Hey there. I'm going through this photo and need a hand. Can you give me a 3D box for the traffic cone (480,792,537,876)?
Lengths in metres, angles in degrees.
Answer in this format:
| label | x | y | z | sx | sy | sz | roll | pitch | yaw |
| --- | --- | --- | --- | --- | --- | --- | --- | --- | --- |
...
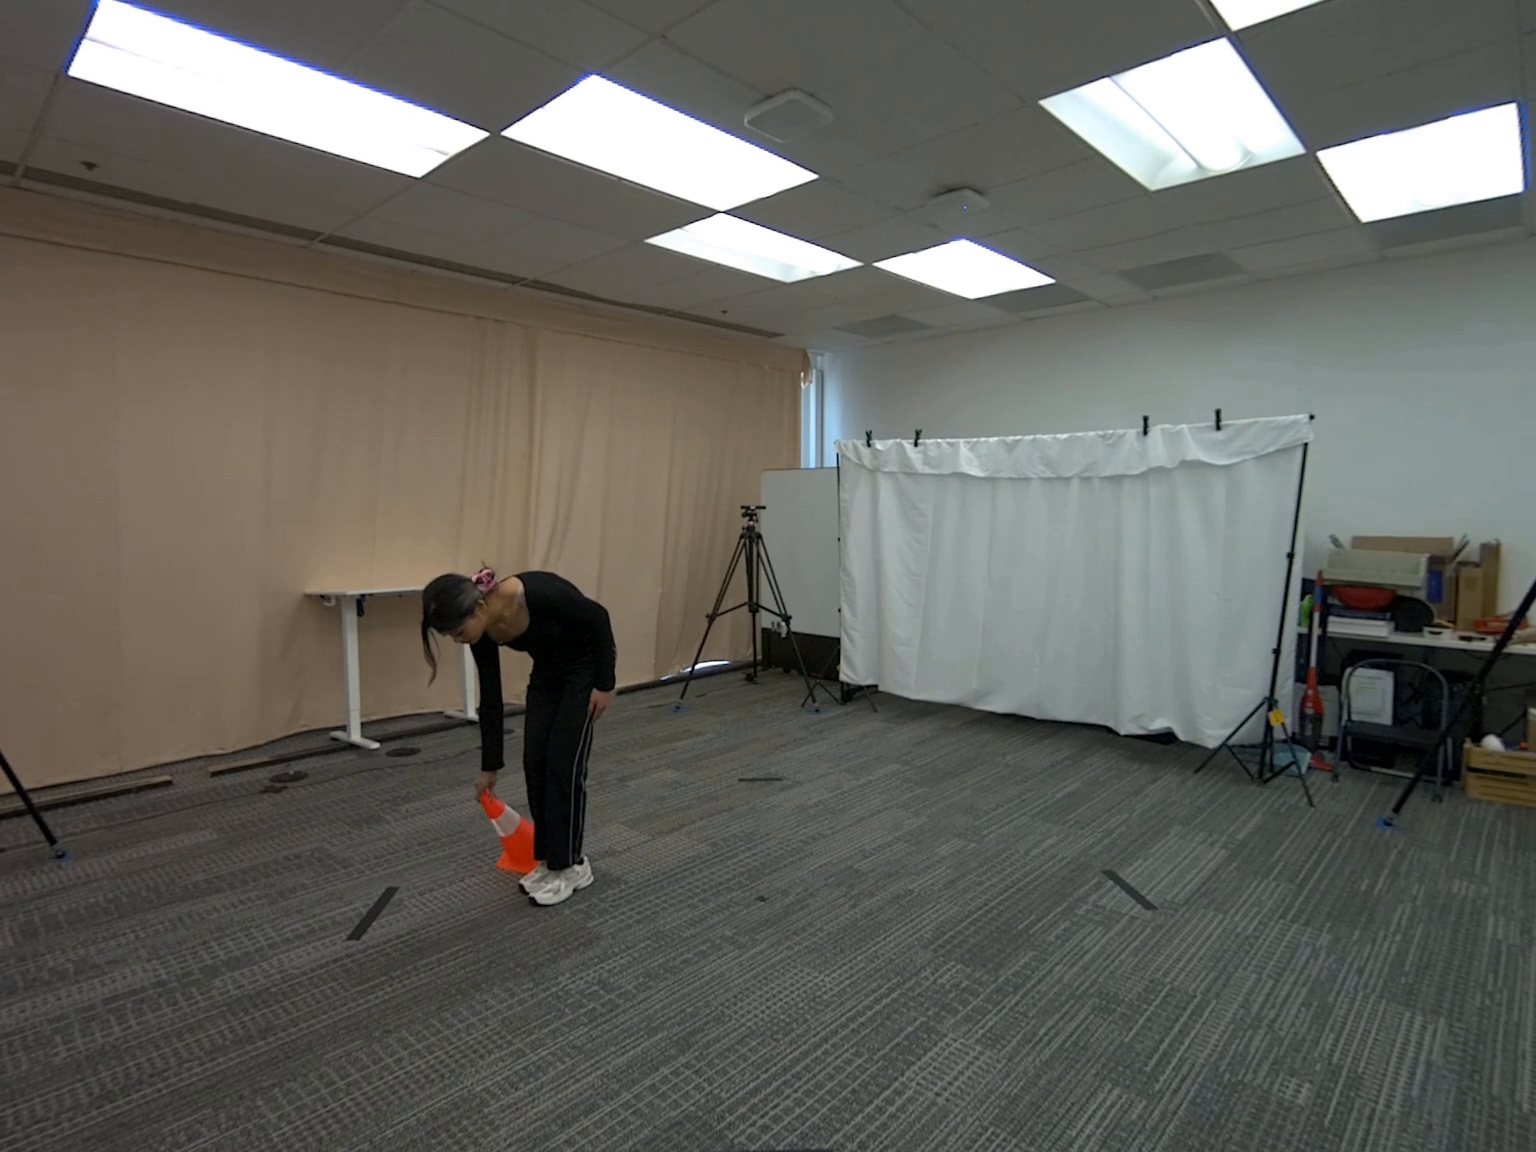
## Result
| label | x | y | z | sx | sy | sz | roll | pitch | yaw |
| --- | --- | --- | --- | --- | --- | --- | --- | --- | --- |
| traffic cone | -1.016 | 0.936 | 3.178 | 0.210 | 0.373 | 0.203 | -3 | 37 | 28 |
